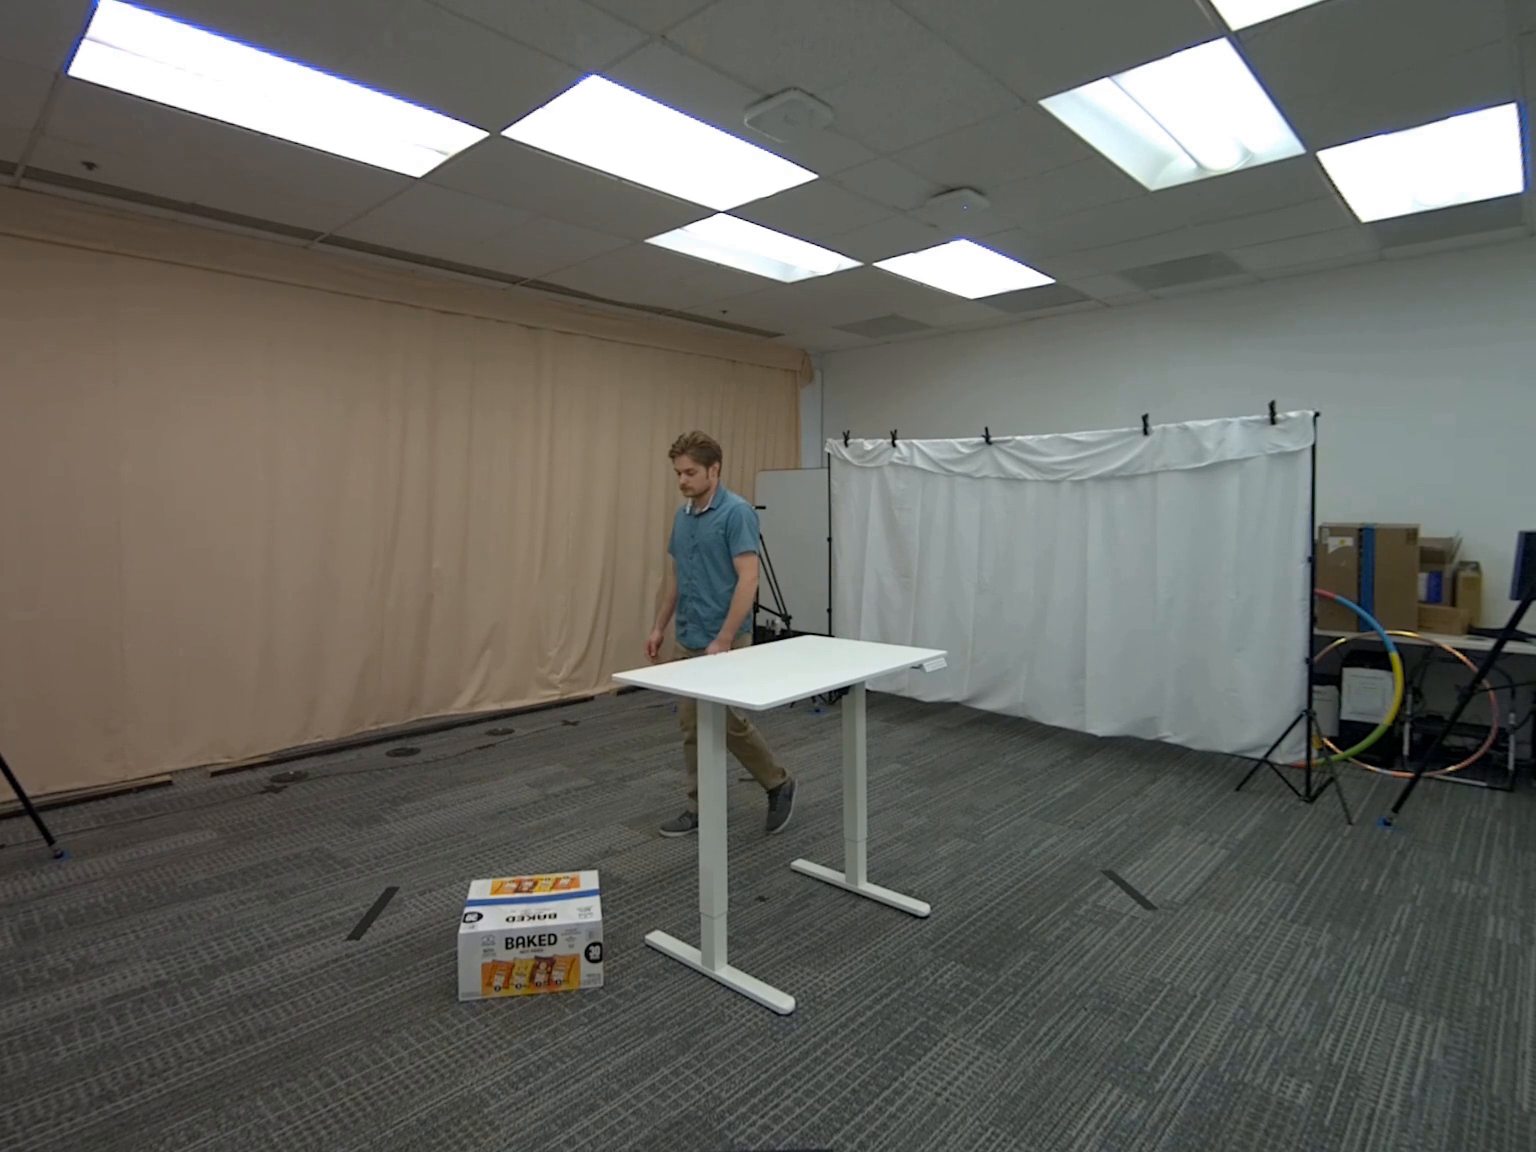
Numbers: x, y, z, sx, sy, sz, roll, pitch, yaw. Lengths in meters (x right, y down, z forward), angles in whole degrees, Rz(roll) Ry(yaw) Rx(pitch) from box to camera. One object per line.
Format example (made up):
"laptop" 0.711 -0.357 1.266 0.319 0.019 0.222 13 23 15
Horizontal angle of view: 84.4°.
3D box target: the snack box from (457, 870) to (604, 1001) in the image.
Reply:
"snack box" -0.713 1.085 2.556 0.400 0.205 0.345 -1 4 -11
